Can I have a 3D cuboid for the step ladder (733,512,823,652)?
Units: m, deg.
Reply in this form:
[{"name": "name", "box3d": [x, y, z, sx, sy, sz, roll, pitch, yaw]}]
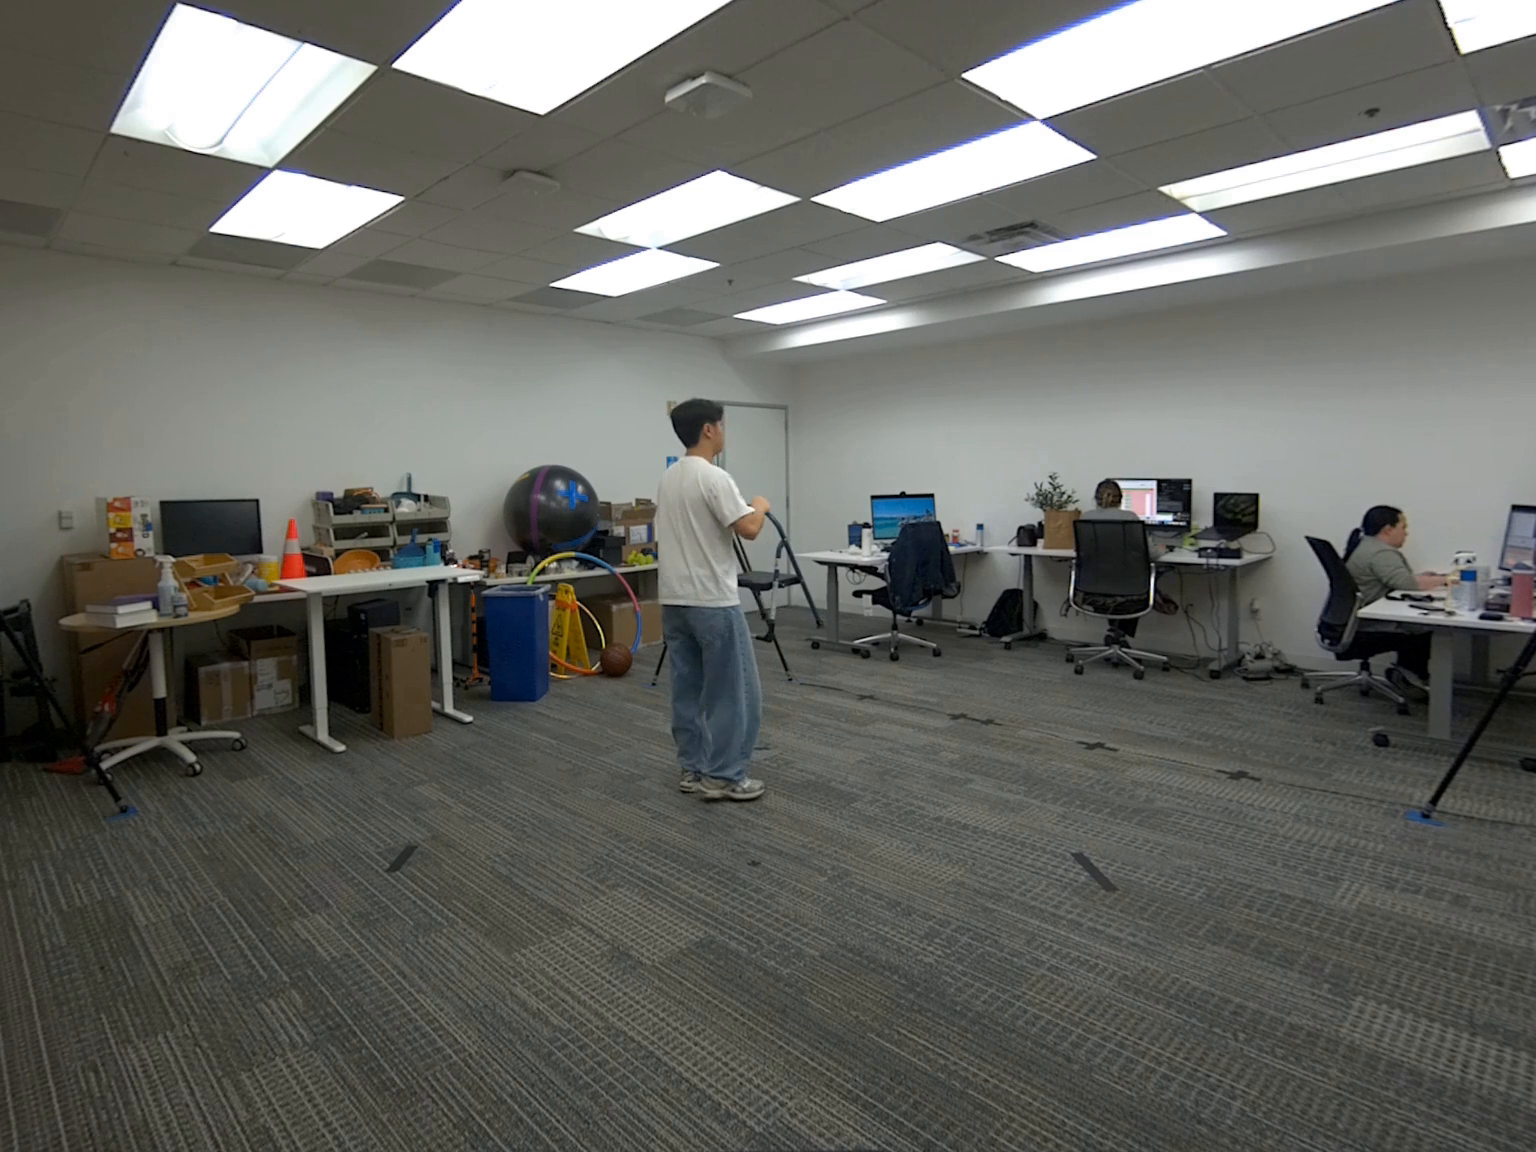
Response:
[{"name": "step ladder", "box3d": [-0.038, -0.041, 3.993, 0.341, 0.602, 0.443, -11, 8, -39]}]
